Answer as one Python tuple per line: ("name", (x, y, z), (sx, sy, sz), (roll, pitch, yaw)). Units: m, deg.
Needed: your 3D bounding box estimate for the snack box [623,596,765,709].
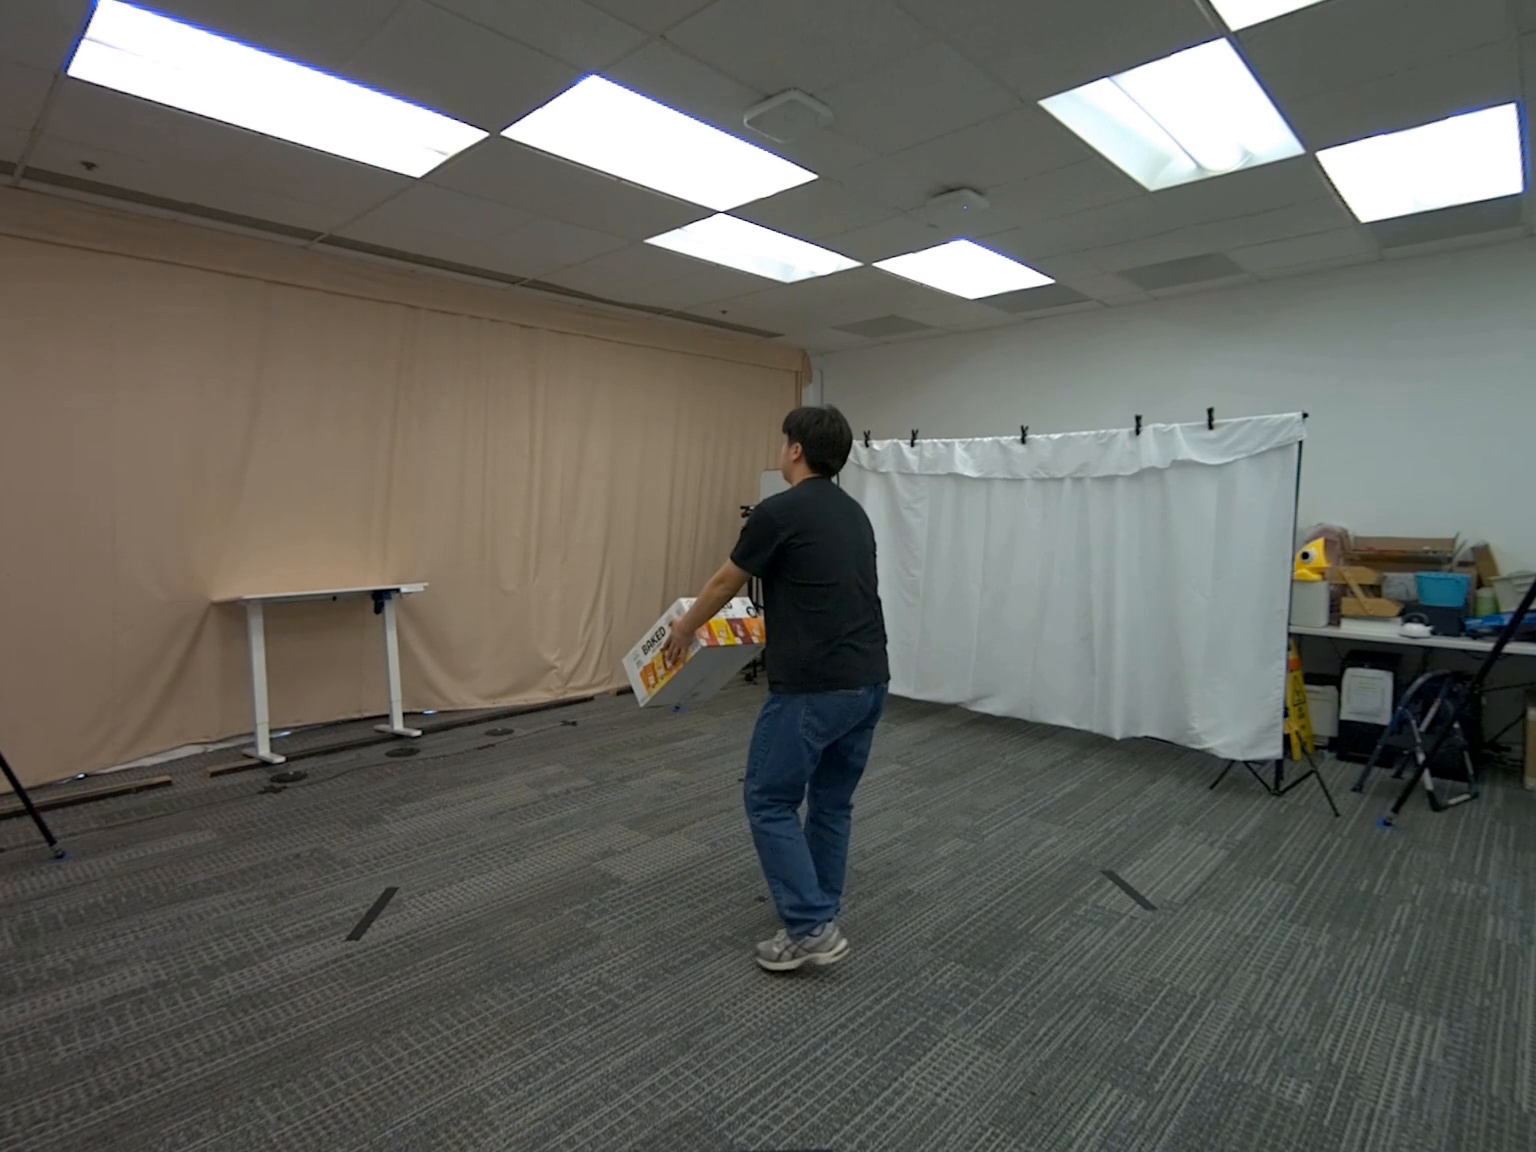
("snack box", (-0.264, 0.281, 3.077), (0.329, 0.211, 0.408), (2, -39, -45))
